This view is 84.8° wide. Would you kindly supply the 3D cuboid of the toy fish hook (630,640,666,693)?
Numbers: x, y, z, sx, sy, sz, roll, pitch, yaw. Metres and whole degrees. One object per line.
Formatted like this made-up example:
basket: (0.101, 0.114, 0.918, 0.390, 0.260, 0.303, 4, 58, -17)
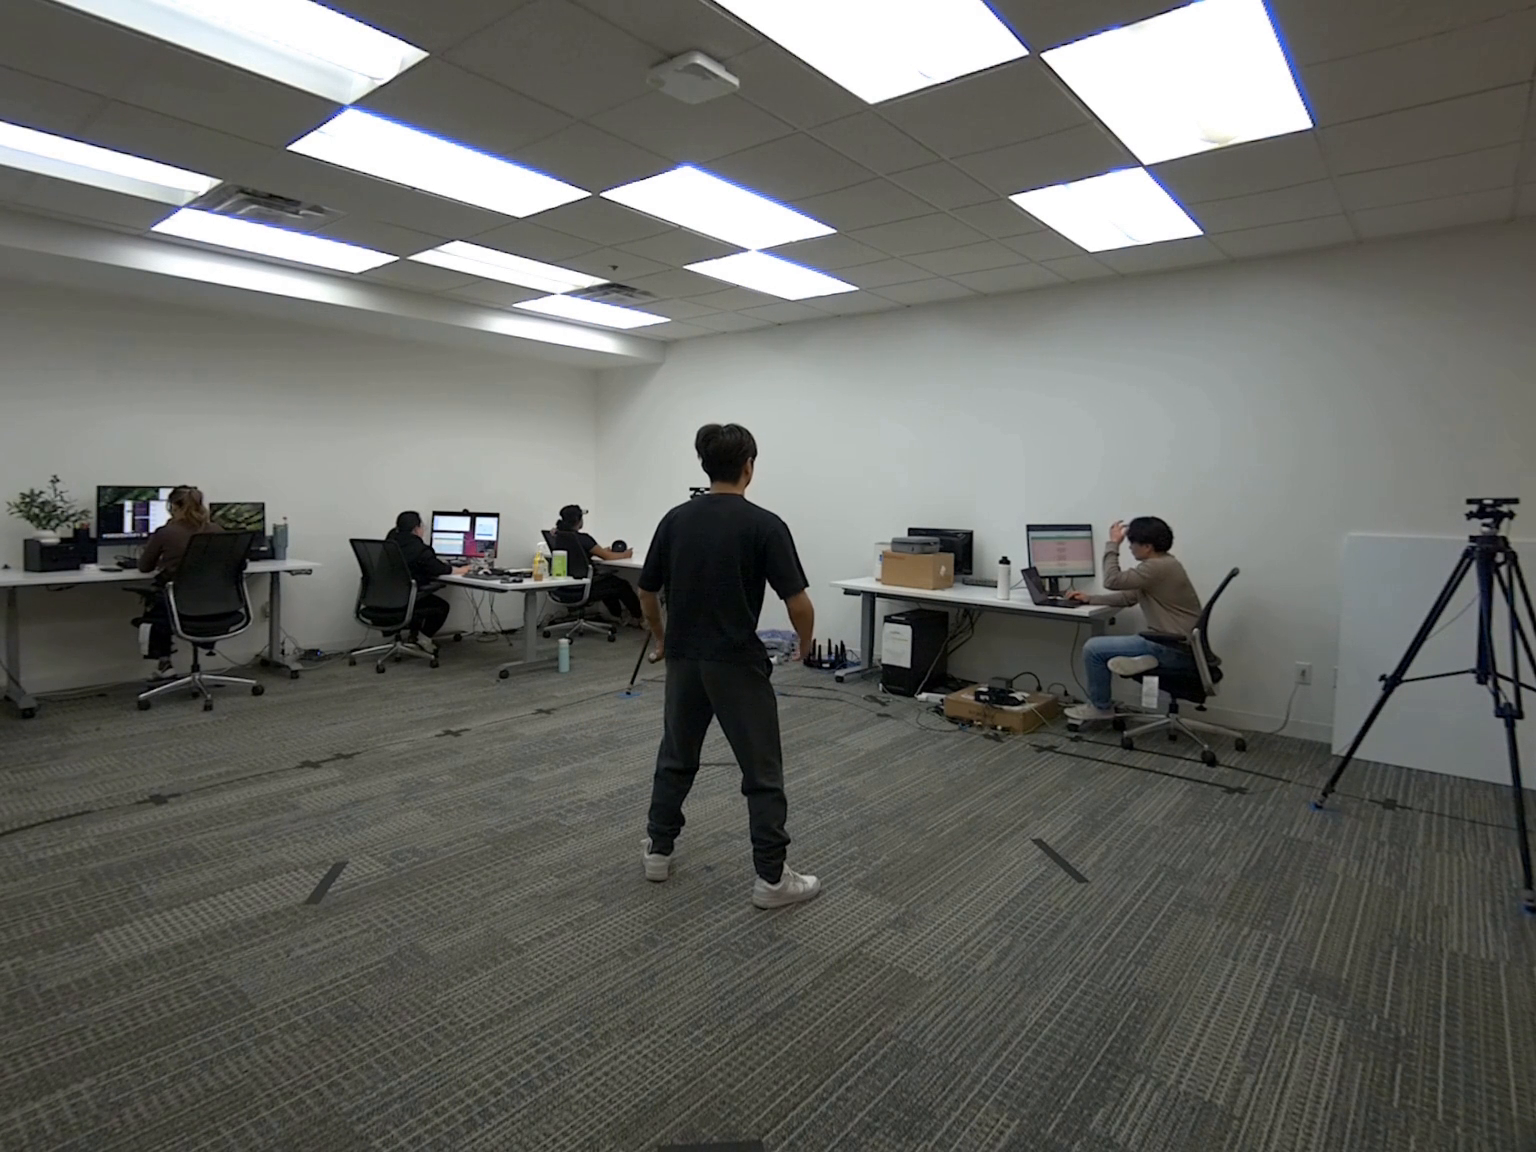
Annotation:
toy fish hook: (-0.340, 0.277, 3.322, 0.049, 0.223, 0.498, 35, 25, 16)
